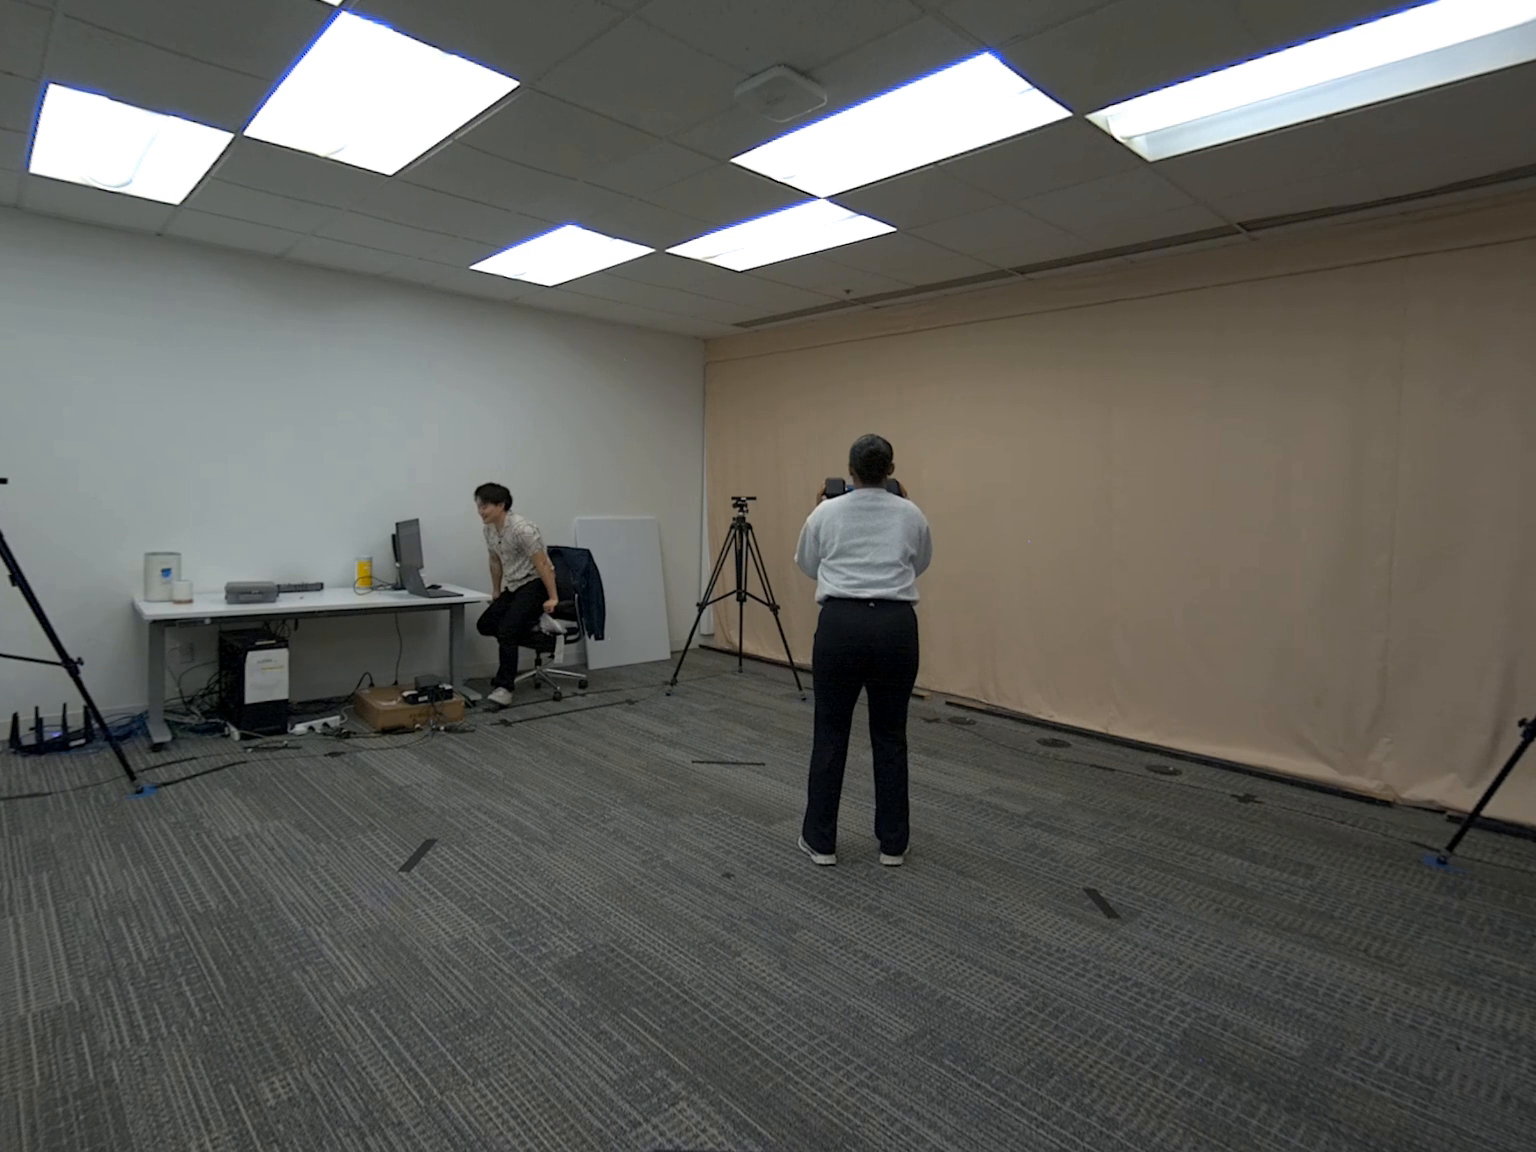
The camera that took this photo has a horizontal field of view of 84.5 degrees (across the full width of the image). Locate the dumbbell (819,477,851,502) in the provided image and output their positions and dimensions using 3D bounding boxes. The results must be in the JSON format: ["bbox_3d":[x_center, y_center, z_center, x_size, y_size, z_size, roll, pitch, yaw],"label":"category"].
[{"bbox_3d":[0.379,-0.321,3.399,0.294,0.120,0.111,1,44,3],"label":"dumbbell"}]
